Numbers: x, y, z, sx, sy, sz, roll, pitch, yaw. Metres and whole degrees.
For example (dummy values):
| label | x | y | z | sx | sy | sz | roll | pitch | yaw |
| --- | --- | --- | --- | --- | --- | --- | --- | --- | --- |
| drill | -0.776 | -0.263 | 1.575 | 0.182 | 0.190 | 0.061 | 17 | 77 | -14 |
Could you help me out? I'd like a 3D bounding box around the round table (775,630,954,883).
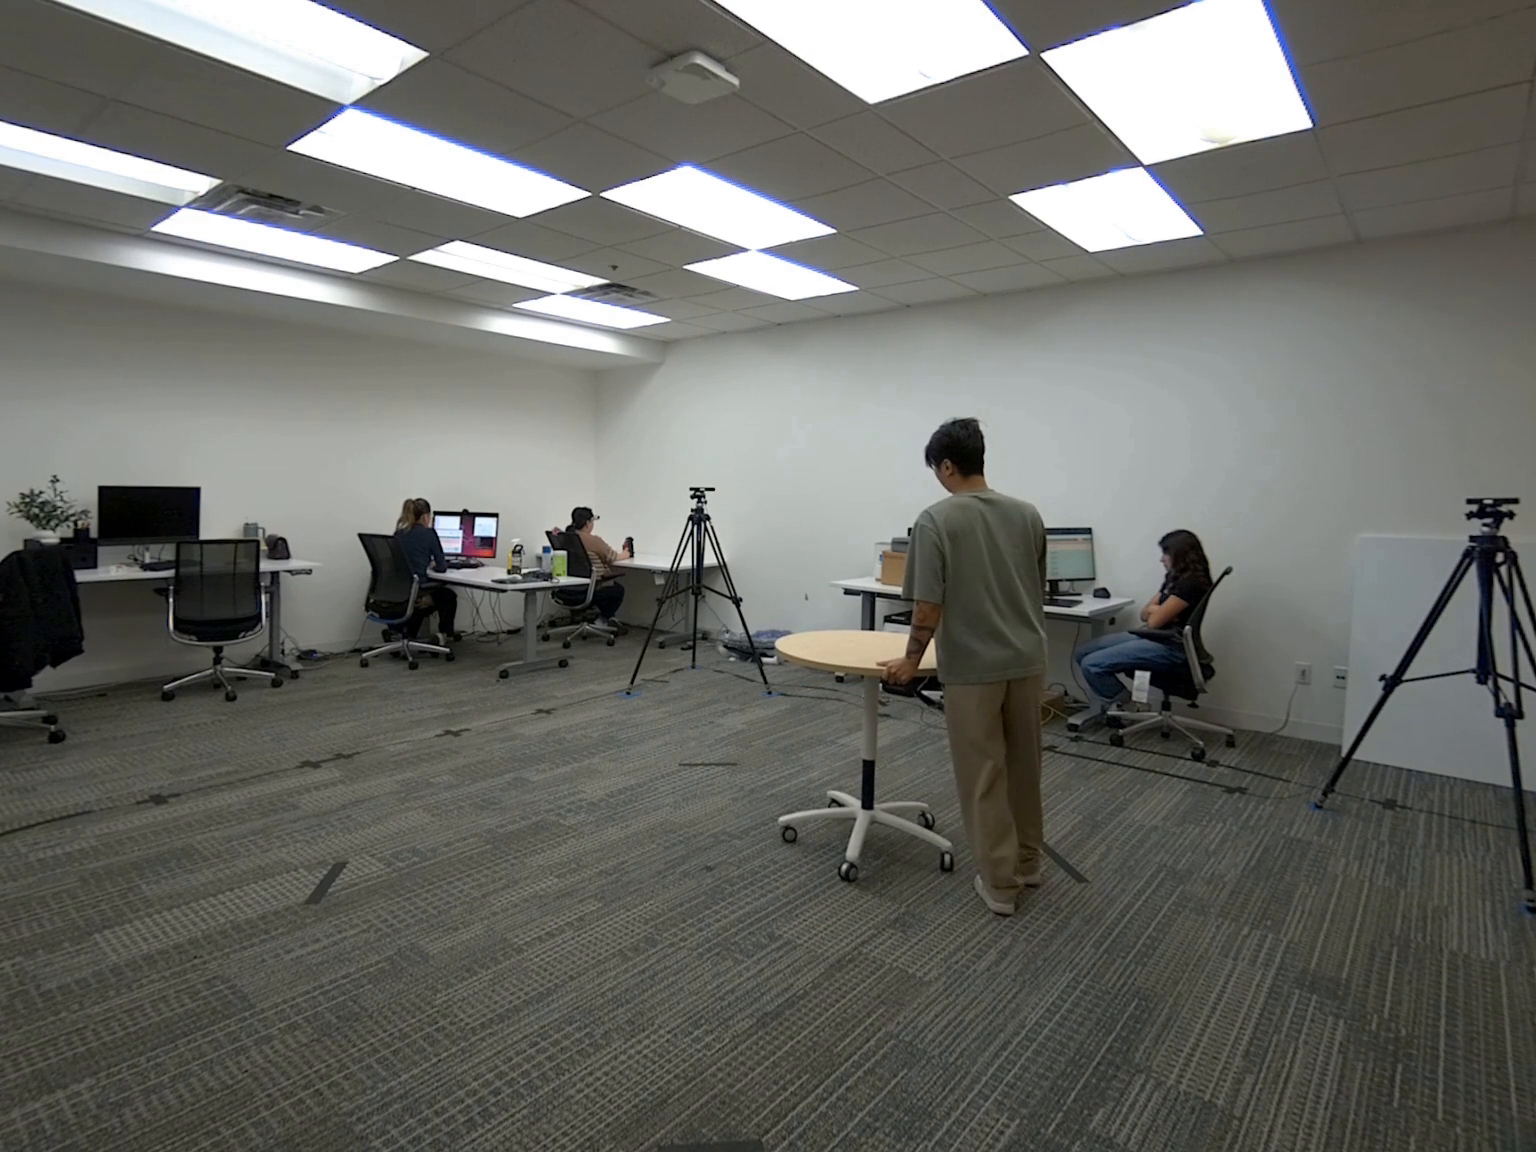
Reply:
| label | x | y | z | sx | sy | sz | roll | pitch | yaw |
| --- | --- | --- | --- | --- | --- | --- | --- | --- | --- |
| round table | 0.387 | 0.663 | 3.363 | 0.784 | 0.783 | 0.790 | 1 | 5 | -2 |
